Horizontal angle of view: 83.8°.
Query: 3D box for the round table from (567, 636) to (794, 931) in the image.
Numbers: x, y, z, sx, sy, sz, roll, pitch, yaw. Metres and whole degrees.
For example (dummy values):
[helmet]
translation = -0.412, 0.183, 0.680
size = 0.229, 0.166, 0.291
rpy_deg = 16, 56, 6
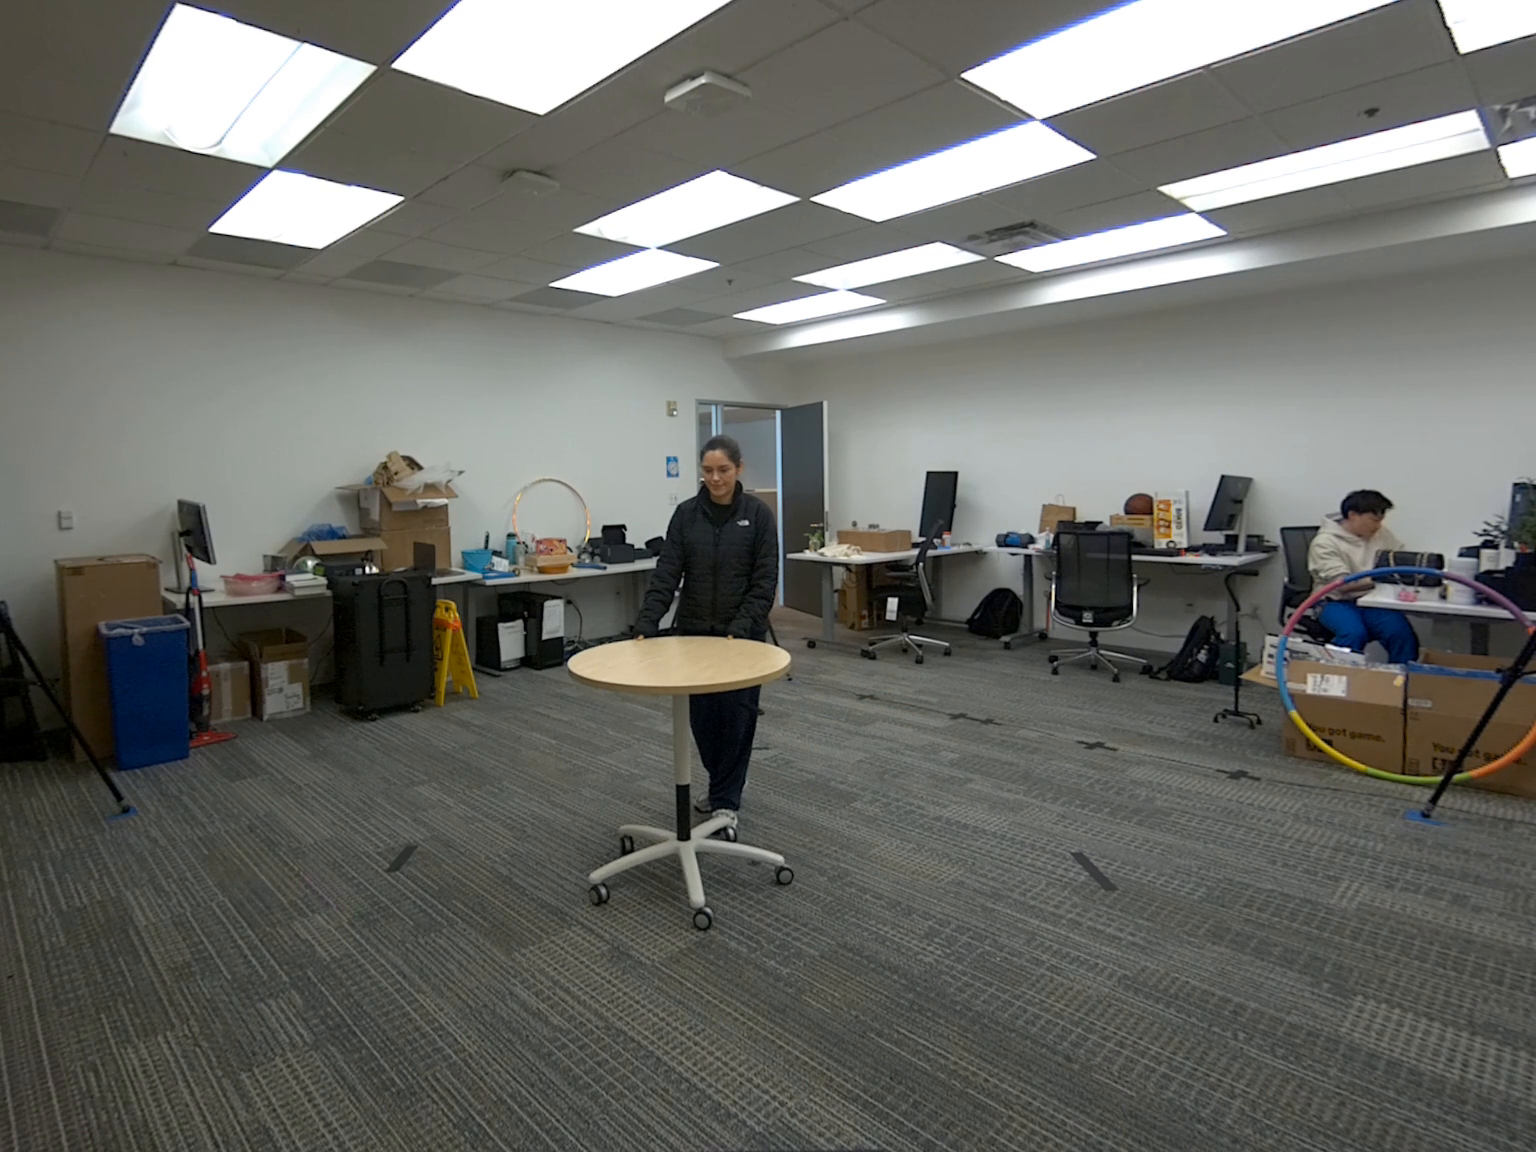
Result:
[round table]
translation = -0.290, 0.672, 2.994
size = 0.784, 0.783, 0.790
rpy_deg = -1, 6, -2
